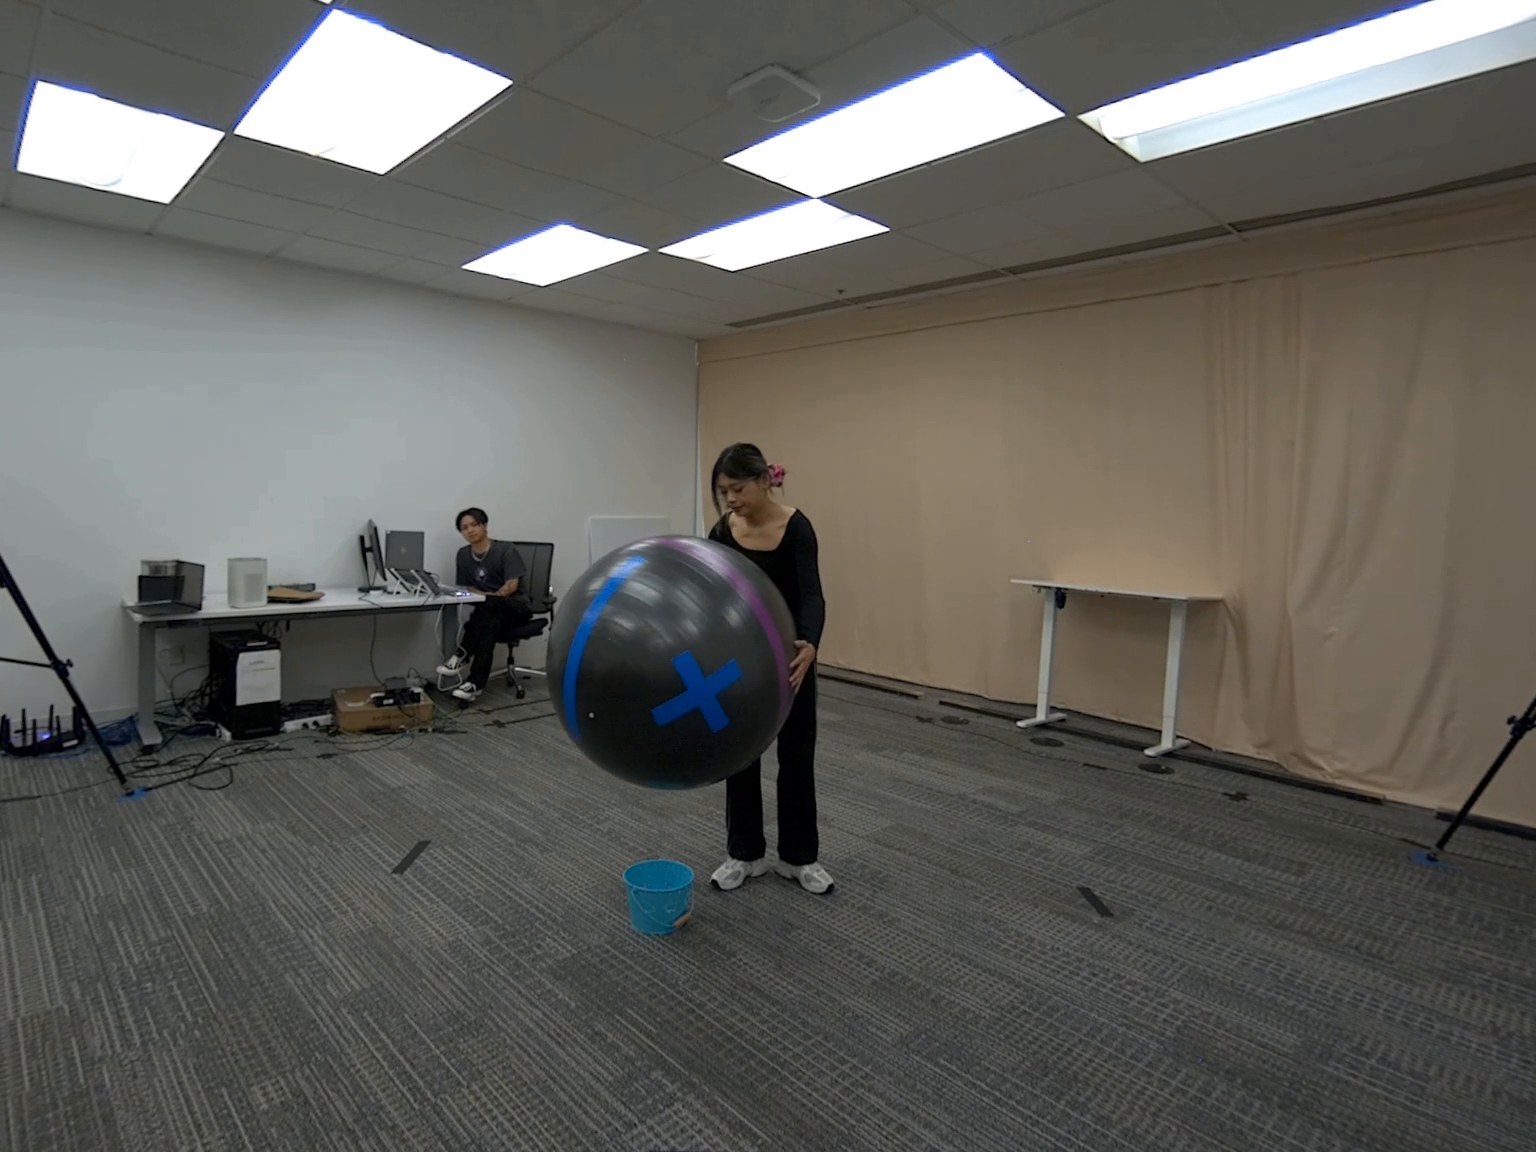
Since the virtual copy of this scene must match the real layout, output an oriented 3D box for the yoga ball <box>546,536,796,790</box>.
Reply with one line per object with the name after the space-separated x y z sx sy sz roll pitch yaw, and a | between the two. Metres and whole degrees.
-0.278 0.260 2.529 0.757 0.756 0.761 1 4 -1 | yoga ball
